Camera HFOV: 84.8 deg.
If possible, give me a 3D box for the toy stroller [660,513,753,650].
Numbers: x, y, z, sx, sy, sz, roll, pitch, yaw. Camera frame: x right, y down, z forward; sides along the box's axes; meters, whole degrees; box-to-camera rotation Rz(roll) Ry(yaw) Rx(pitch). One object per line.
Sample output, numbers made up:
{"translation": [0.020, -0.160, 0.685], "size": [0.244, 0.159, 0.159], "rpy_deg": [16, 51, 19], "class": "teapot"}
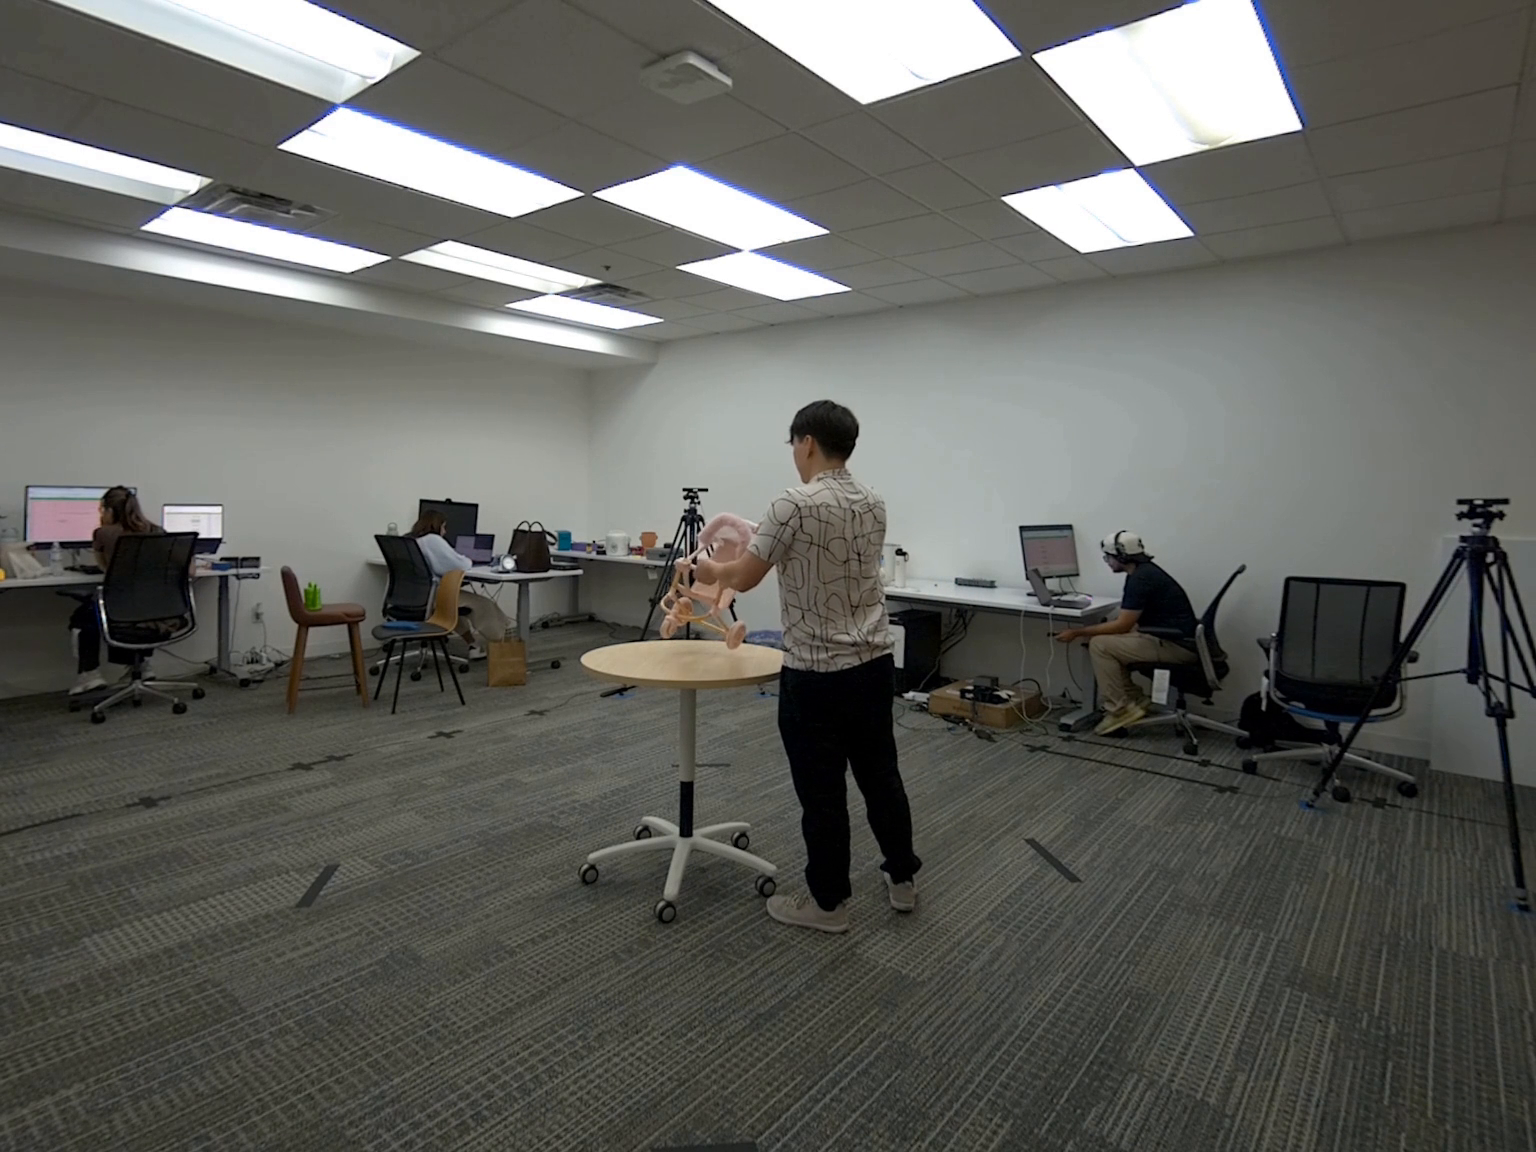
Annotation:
{"translation": [-0.210, 0.004, 3.067], "size": [0.292, 0.537, 0.328], "rpy_deg": [17, -10, 33], "class": "toy stroller"}
